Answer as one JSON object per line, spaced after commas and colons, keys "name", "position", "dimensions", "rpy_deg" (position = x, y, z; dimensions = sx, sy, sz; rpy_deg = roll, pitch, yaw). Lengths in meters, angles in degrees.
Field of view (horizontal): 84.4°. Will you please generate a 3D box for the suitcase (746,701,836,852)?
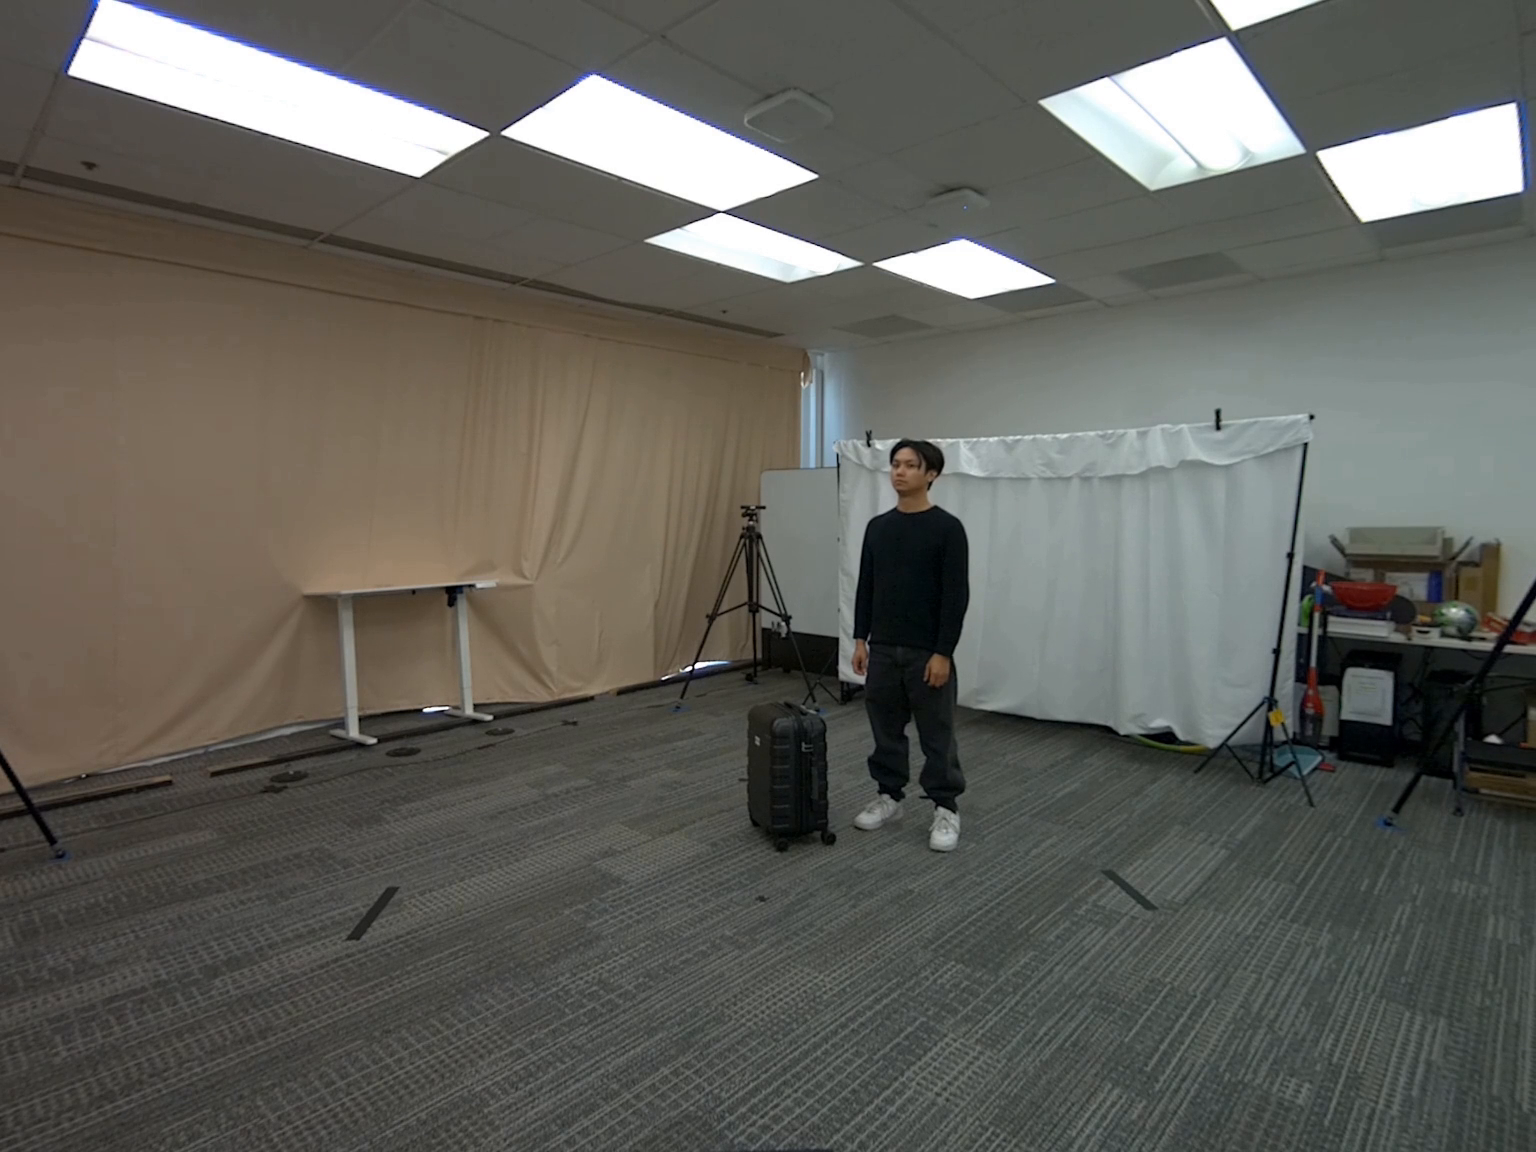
{"name": "suitcase", "position": [0.084, 0.819, 3.551], "dimensions": [0.243, 0.548, 0.383], "rpy_deg": [-3, 4, -20]}
